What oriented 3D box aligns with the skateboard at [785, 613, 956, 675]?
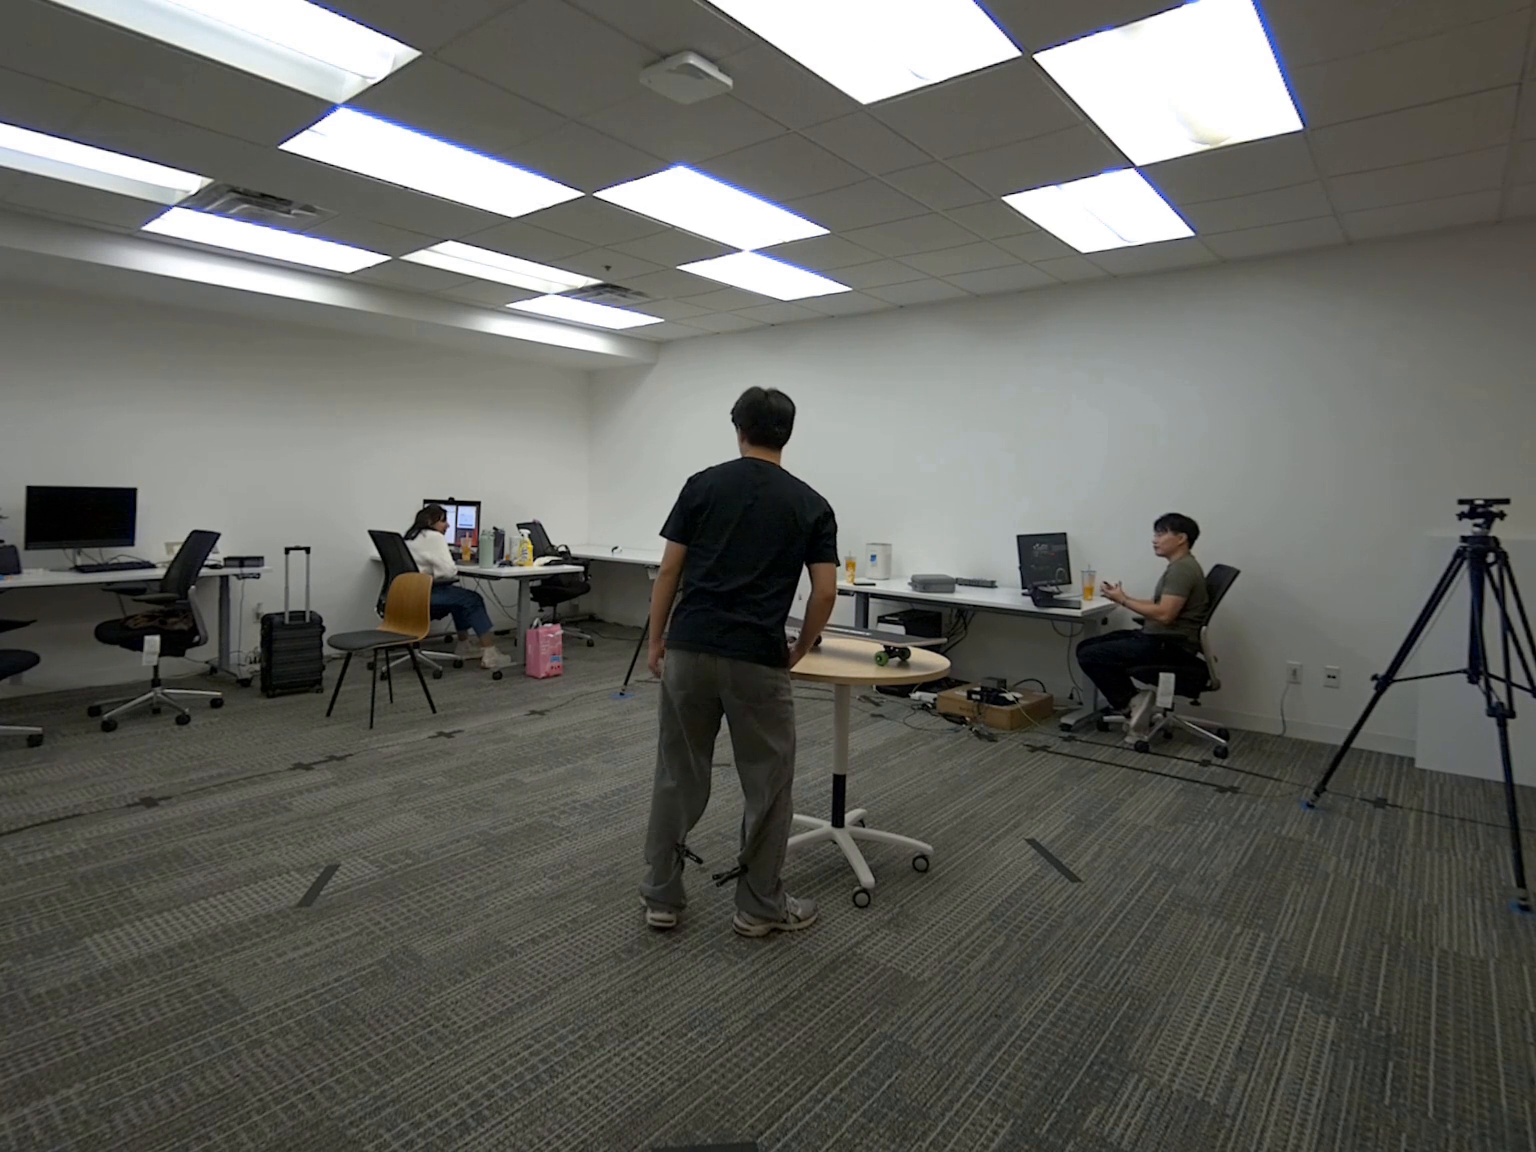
[{"bbox_3d":[0.298,0.240,3.171,0.812,0.110,0.187,6,5,43],"label":"skateboard"}]
